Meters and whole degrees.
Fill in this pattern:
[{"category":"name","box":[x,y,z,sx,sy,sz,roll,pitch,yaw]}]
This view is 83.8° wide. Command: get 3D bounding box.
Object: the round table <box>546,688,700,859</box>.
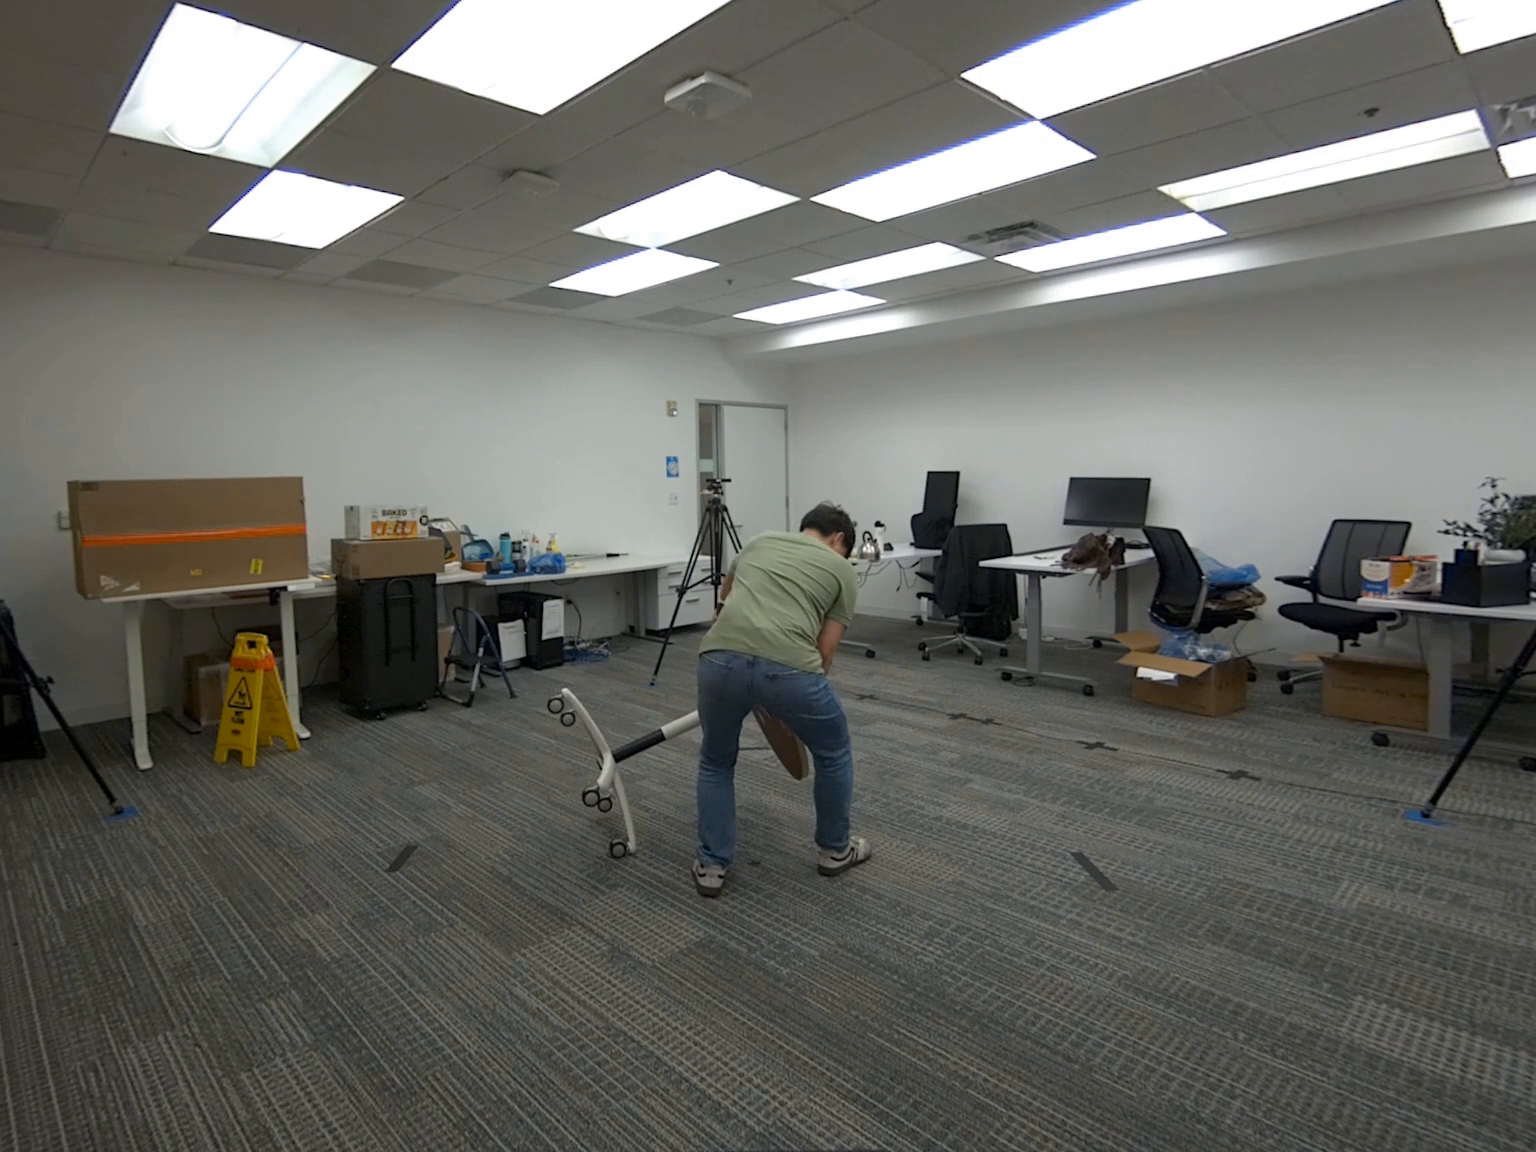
[{"category":"round table","box":[-0.372,0.603,3.351,0.789,0.756,0.778,-24,10,-13]}]
